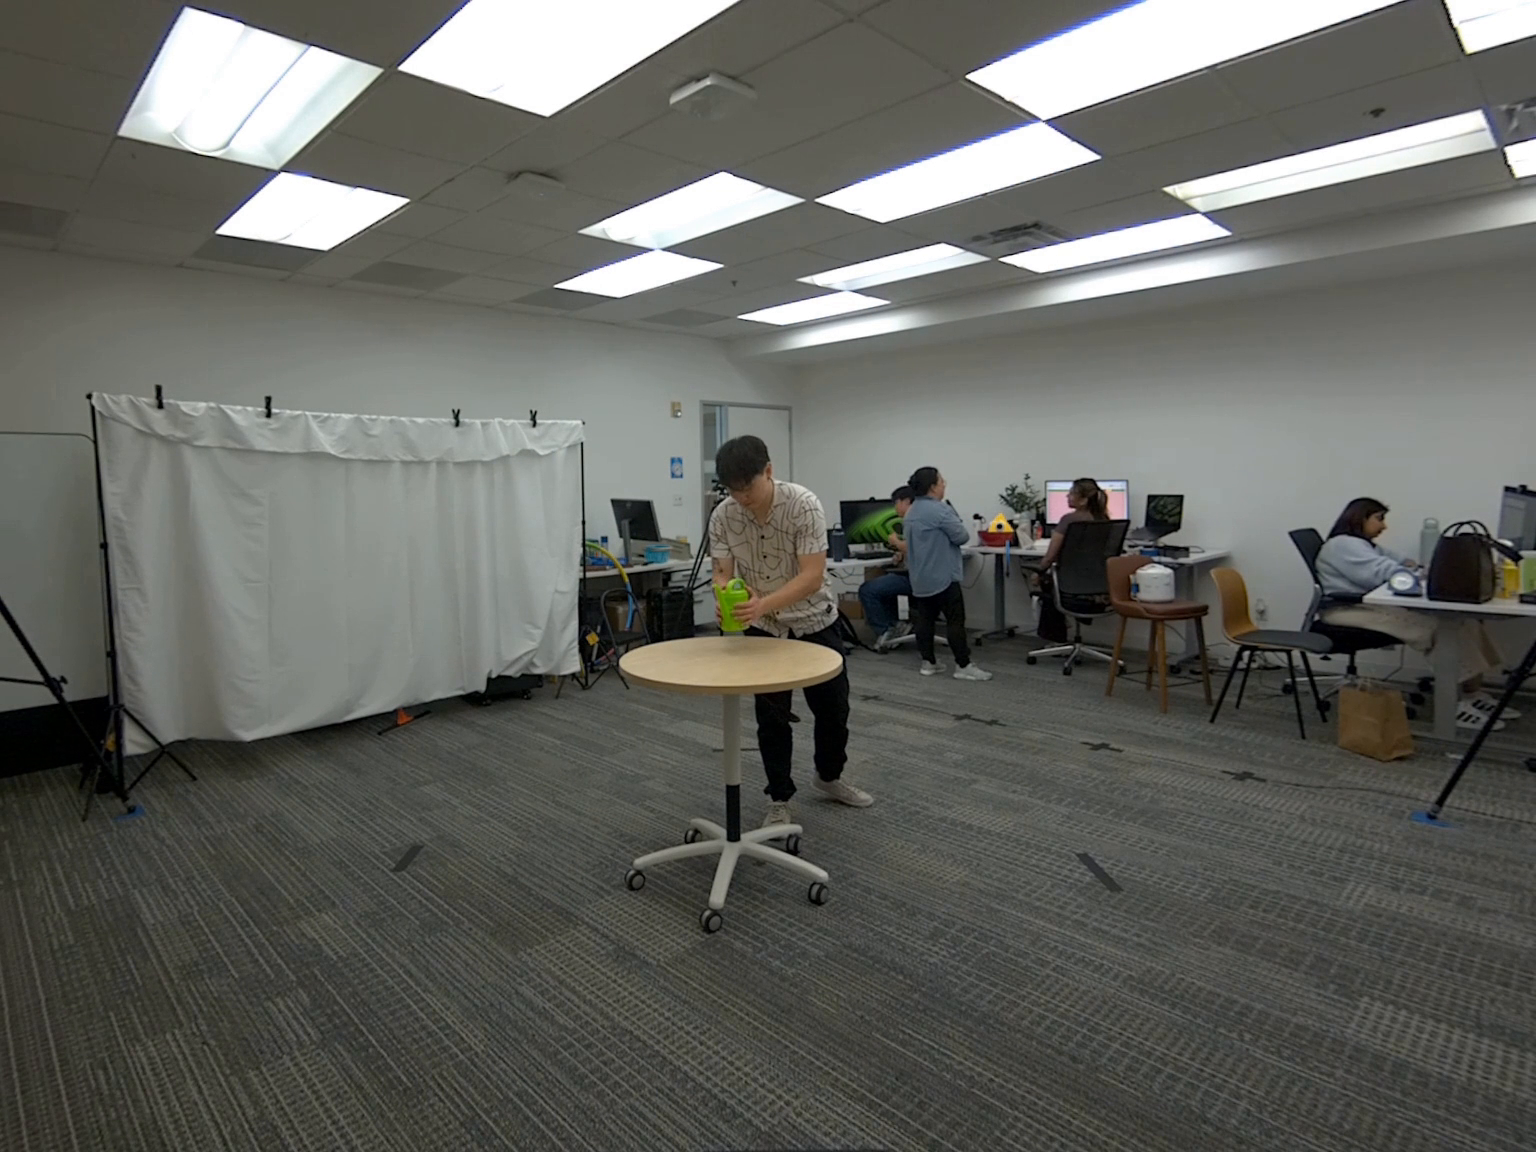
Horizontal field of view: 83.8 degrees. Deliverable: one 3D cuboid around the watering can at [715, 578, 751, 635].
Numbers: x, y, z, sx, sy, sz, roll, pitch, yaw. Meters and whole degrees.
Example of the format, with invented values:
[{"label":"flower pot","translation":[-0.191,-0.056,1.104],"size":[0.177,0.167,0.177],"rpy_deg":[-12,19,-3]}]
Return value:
[{"label":"watering can","translation":[-0.148,0.102,2.980],"size":[0.100,0.176,0.272],"rpy_deg":[4,5,27]}]
